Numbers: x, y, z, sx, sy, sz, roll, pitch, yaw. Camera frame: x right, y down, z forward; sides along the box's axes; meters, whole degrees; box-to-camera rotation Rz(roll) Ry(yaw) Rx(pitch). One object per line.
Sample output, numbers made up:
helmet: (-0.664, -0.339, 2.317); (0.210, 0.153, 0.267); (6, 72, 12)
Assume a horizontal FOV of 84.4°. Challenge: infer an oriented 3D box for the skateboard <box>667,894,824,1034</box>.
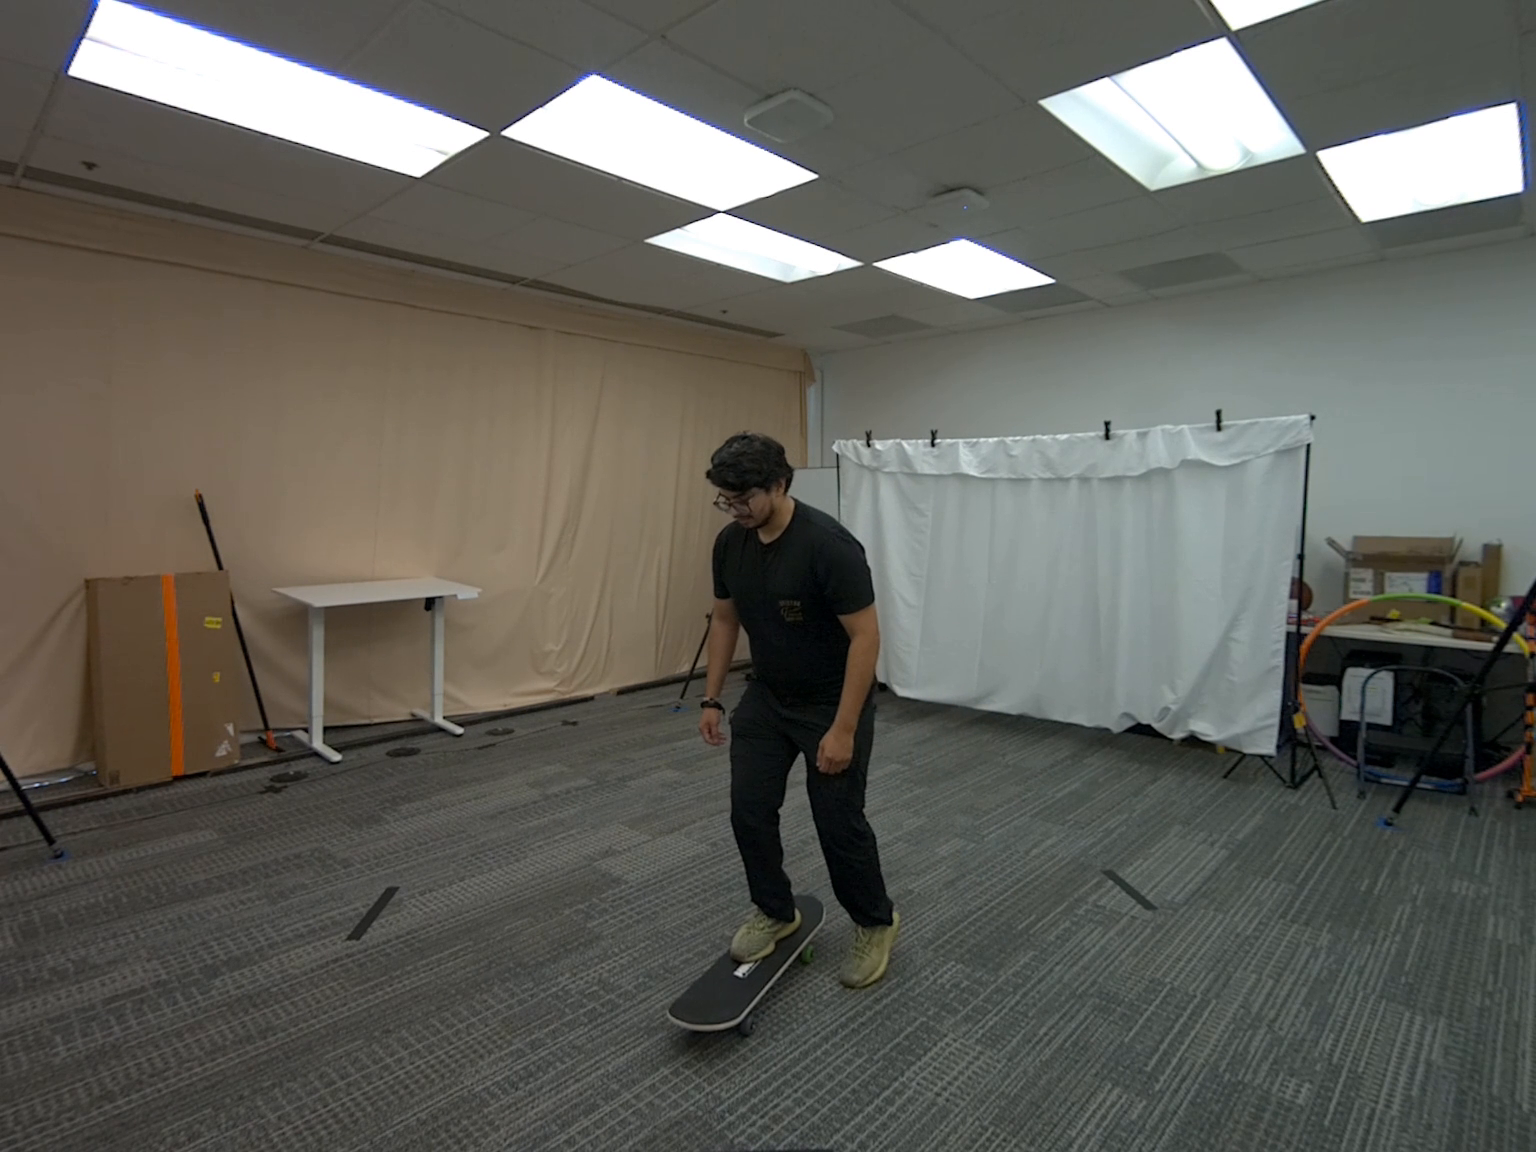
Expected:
skateboard: (-0.032, 1.137, 2.430); (0.198, 0.110, 0.766); (0, 4, 26)
